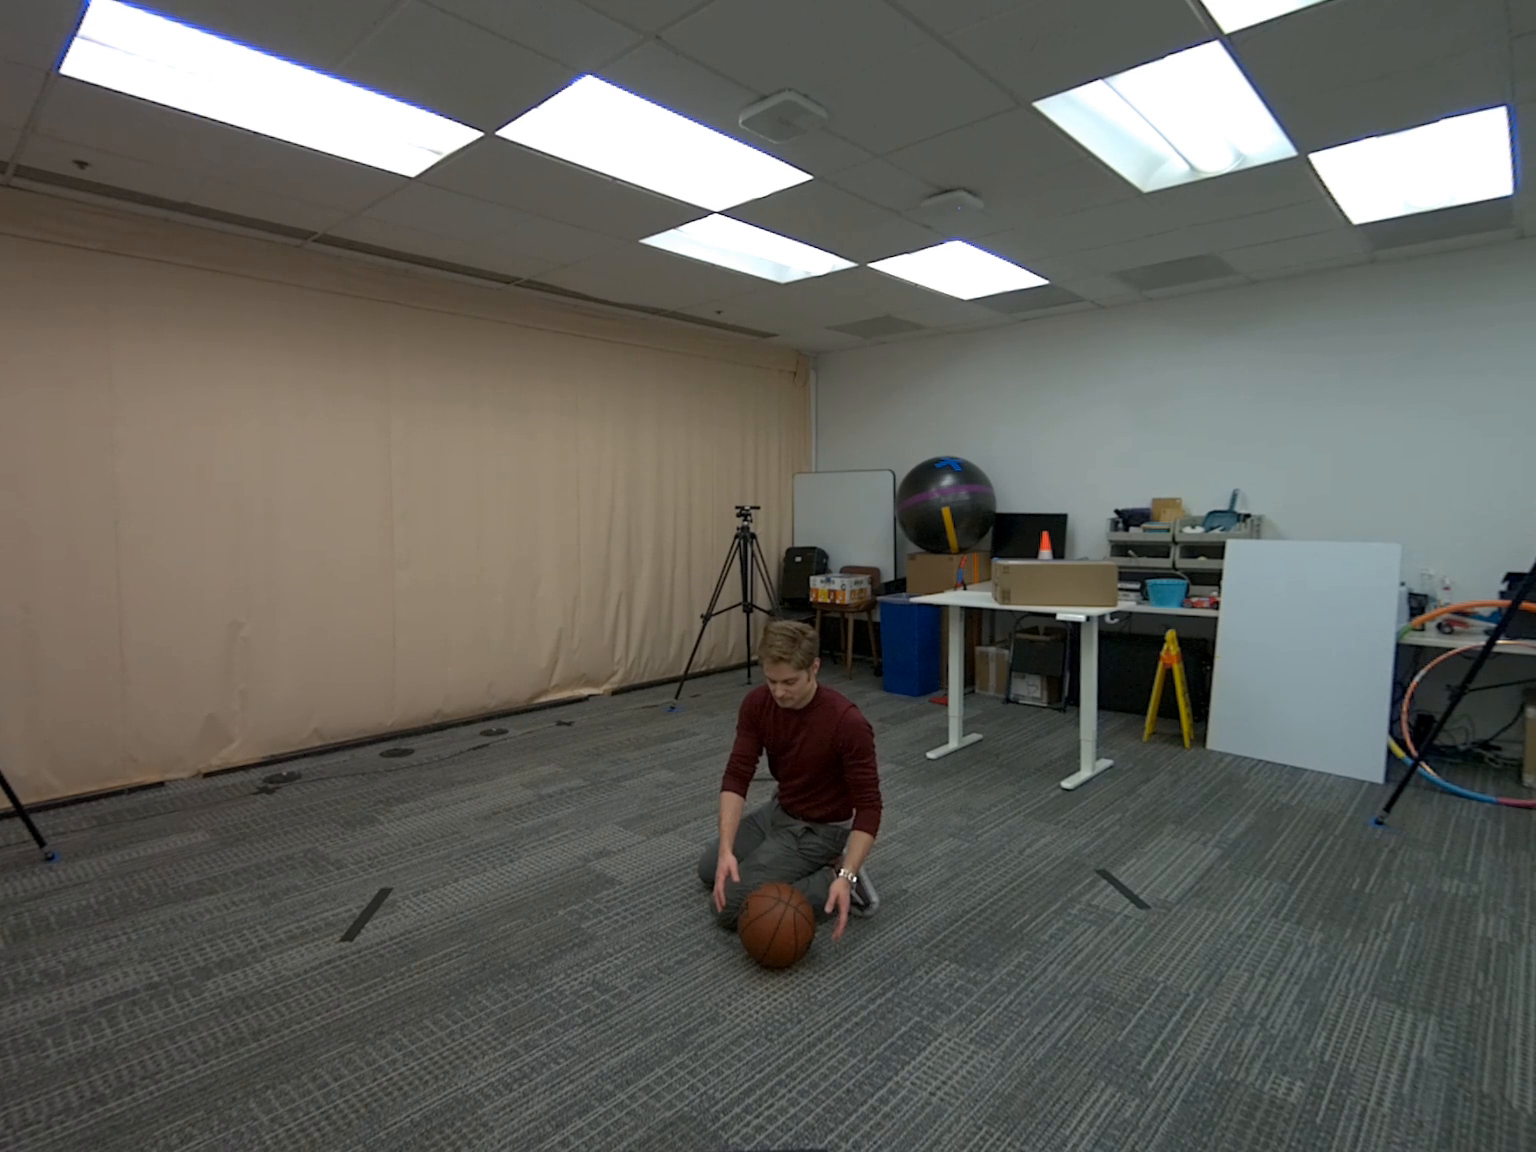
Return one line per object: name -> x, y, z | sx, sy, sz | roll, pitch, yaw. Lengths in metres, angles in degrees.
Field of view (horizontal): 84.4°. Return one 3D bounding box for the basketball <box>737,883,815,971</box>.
basketball -> 0.025, 1.052, 2.569 | 0.236, 0.235, 0.237 | 0, 4, -2
